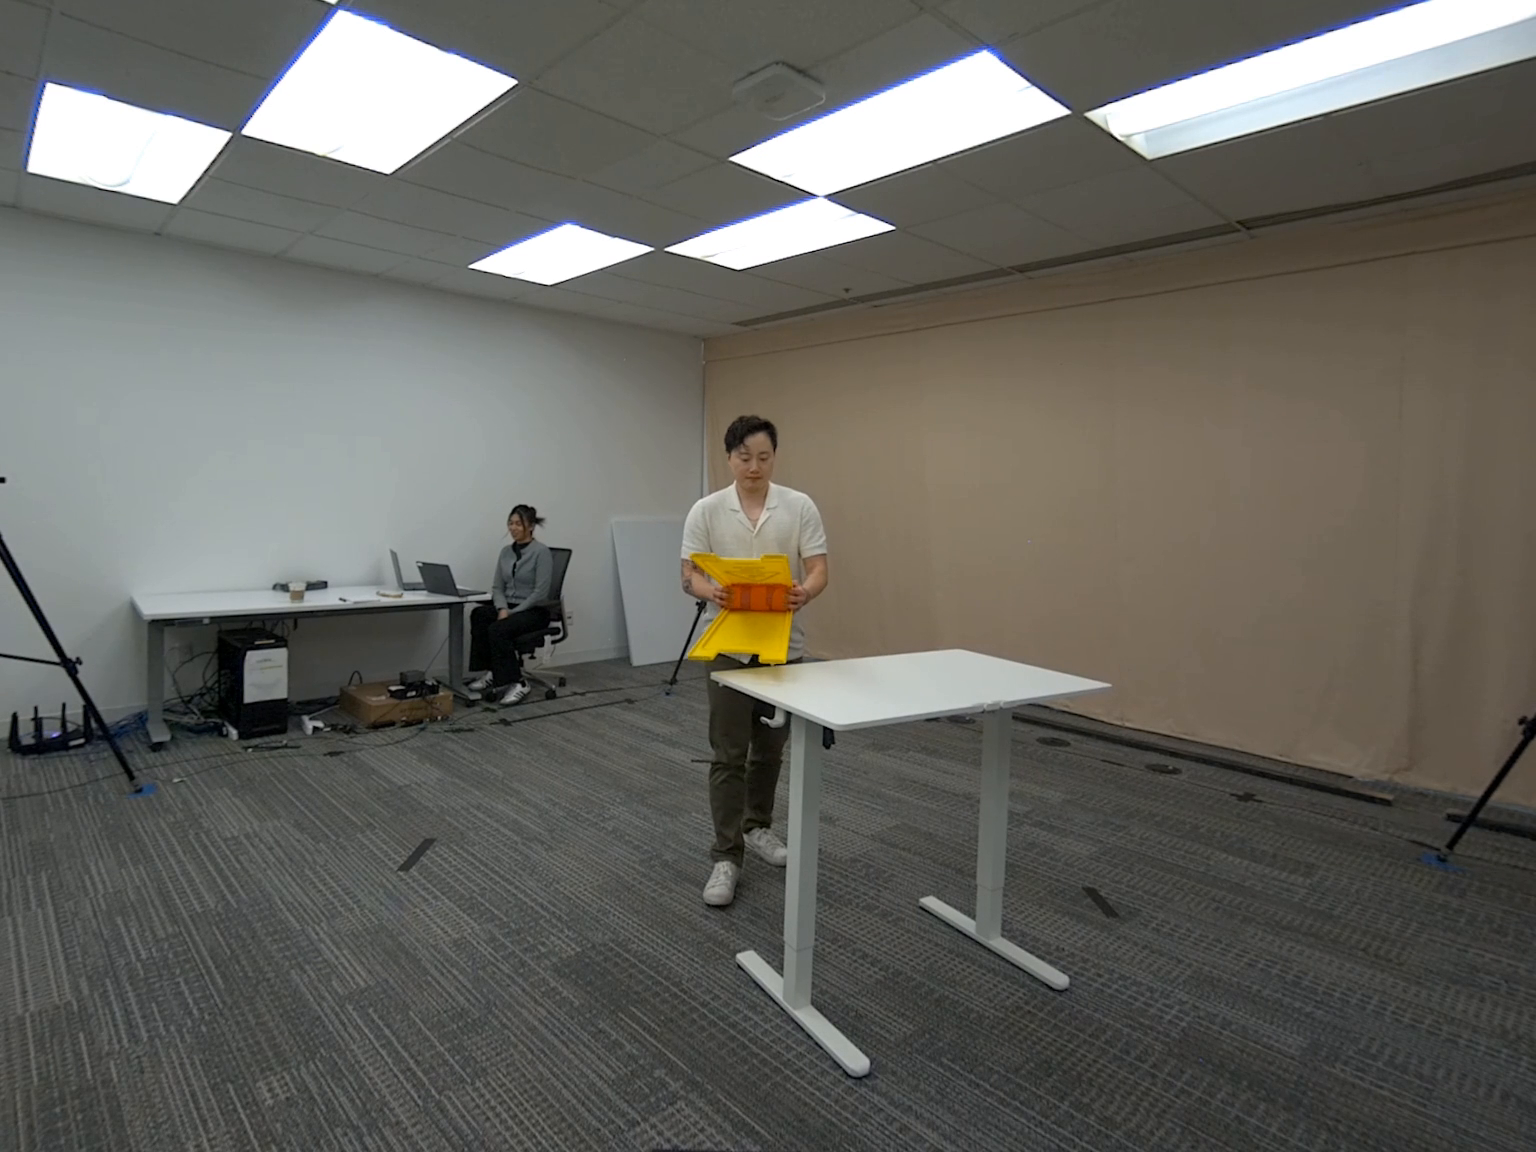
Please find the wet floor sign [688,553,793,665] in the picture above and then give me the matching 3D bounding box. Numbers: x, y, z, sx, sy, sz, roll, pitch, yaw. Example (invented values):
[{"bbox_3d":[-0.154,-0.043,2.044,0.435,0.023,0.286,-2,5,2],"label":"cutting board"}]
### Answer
[{"bbox_3d":[-0.052,0.083,2.633,0.284,0.289,0.642,1,2,8],"label":"wet floor sign"}]
